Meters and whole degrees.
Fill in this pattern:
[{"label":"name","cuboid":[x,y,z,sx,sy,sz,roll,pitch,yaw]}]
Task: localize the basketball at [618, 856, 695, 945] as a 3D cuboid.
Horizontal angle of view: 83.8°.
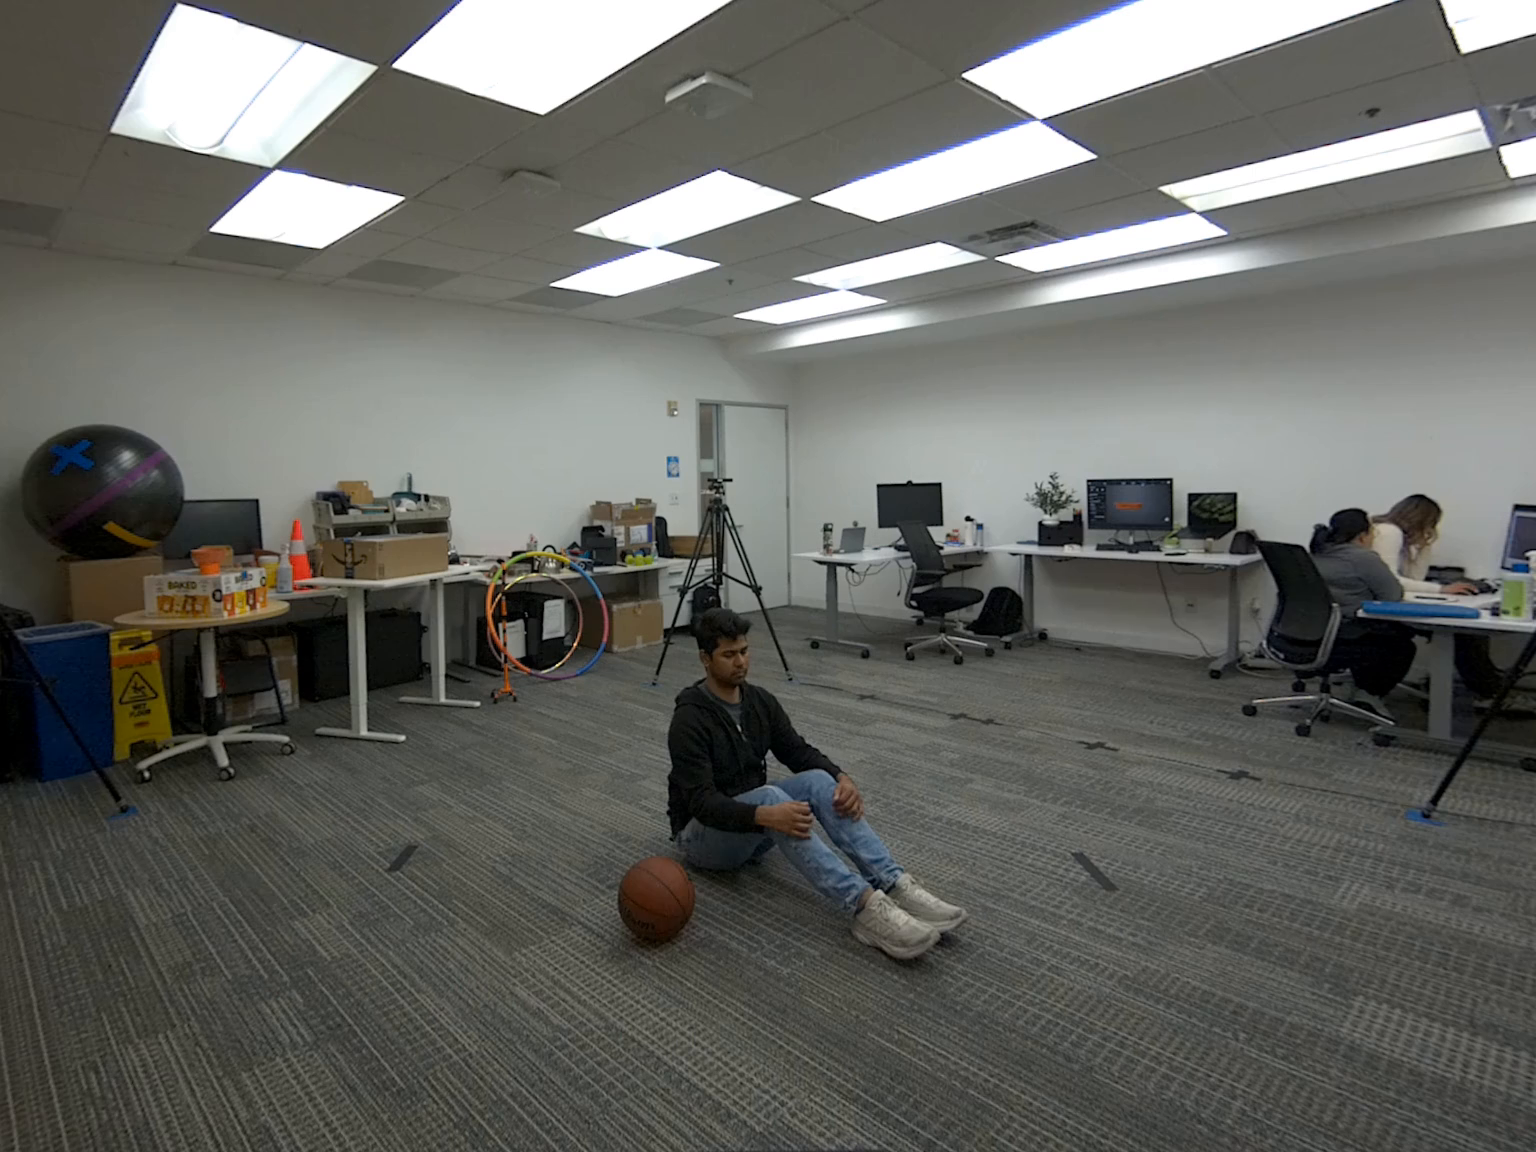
[{"label":"basketball","cuboid":[-0.343,0.988,2.622,0.236,0.235,0.237,-1,5,-2]}]
